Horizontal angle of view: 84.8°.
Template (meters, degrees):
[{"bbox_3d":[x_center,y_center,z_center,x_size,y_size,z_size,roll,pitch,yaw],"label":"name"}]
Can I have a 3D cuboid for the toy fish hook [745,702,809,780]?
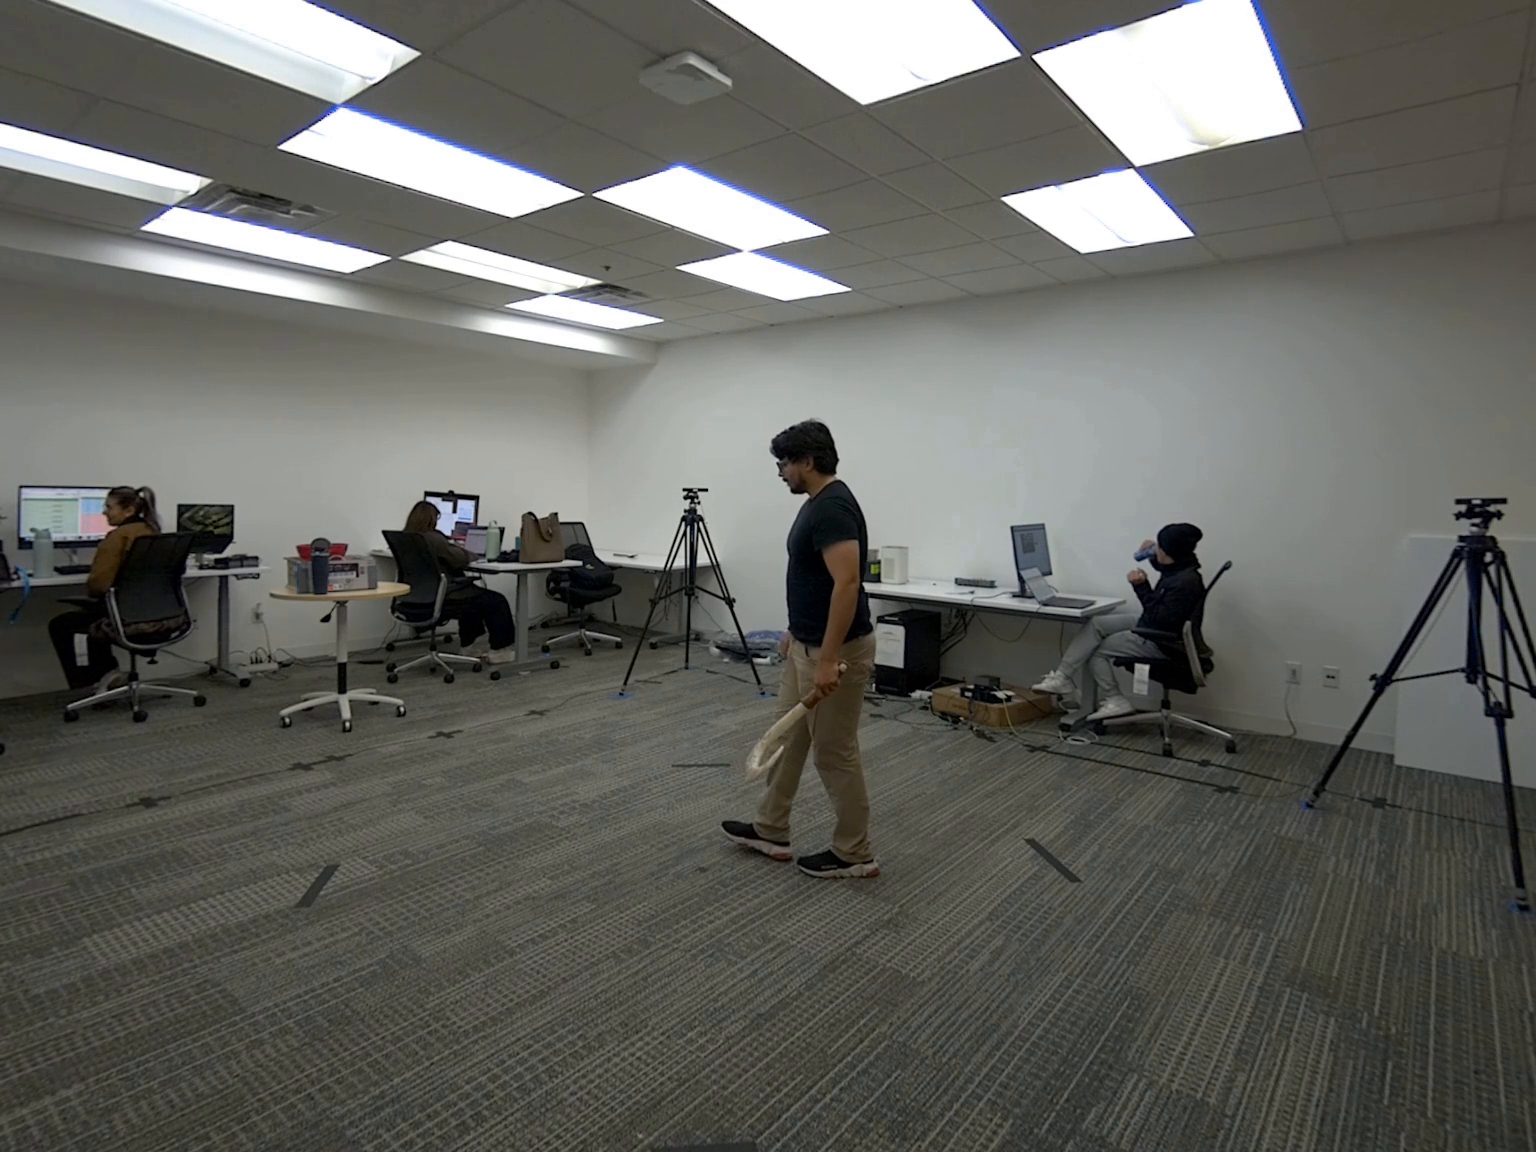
[{"bbox_3d":[0.079,0.479,2.782,0.047,0.506,0.228,38,10,-14],"label":"toy fish hook"}]
